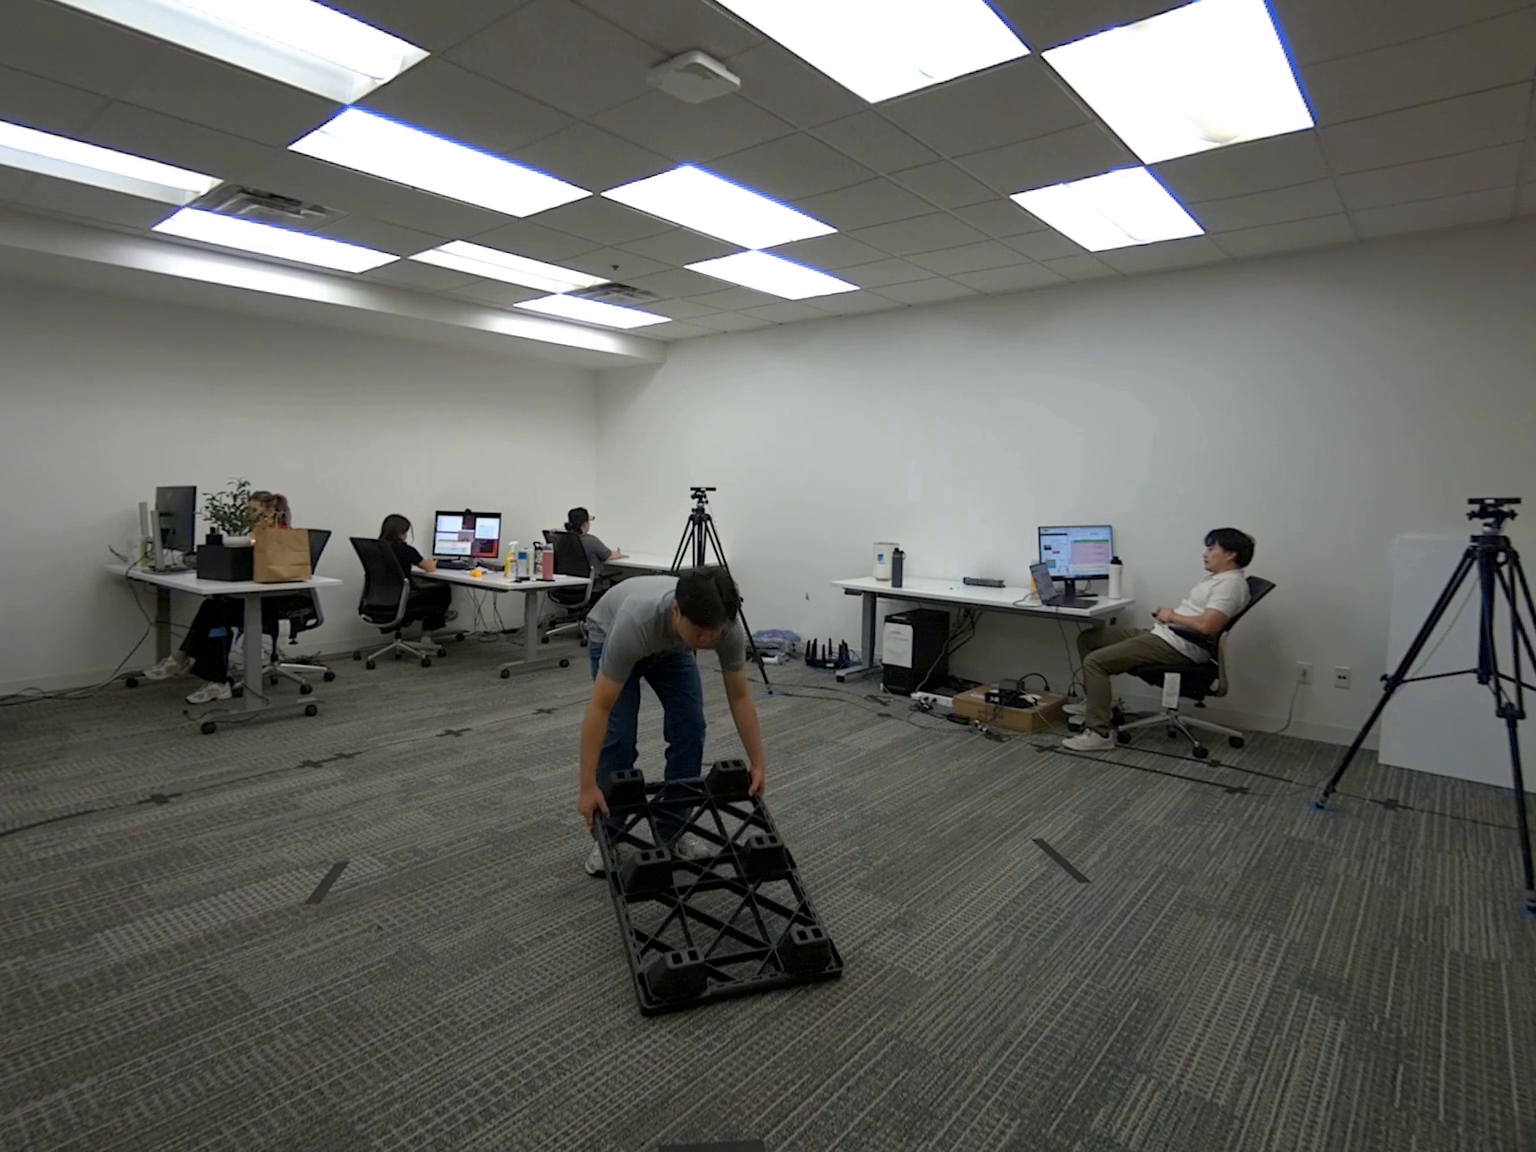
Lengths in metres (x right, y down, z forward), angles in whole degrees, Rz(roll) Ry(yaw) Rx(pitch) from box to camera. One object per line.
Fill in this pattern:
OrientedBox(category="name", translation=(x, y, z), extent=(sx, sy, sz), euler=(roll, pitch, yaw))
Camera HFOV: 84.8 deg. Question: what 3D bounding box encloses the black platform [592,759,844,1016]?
OrientedBox(category="black platform", translation=(-0.191, 0.889, 2.629), extent=(0.592, 0.141, 0.838), euler=(-1, 30, -22))
